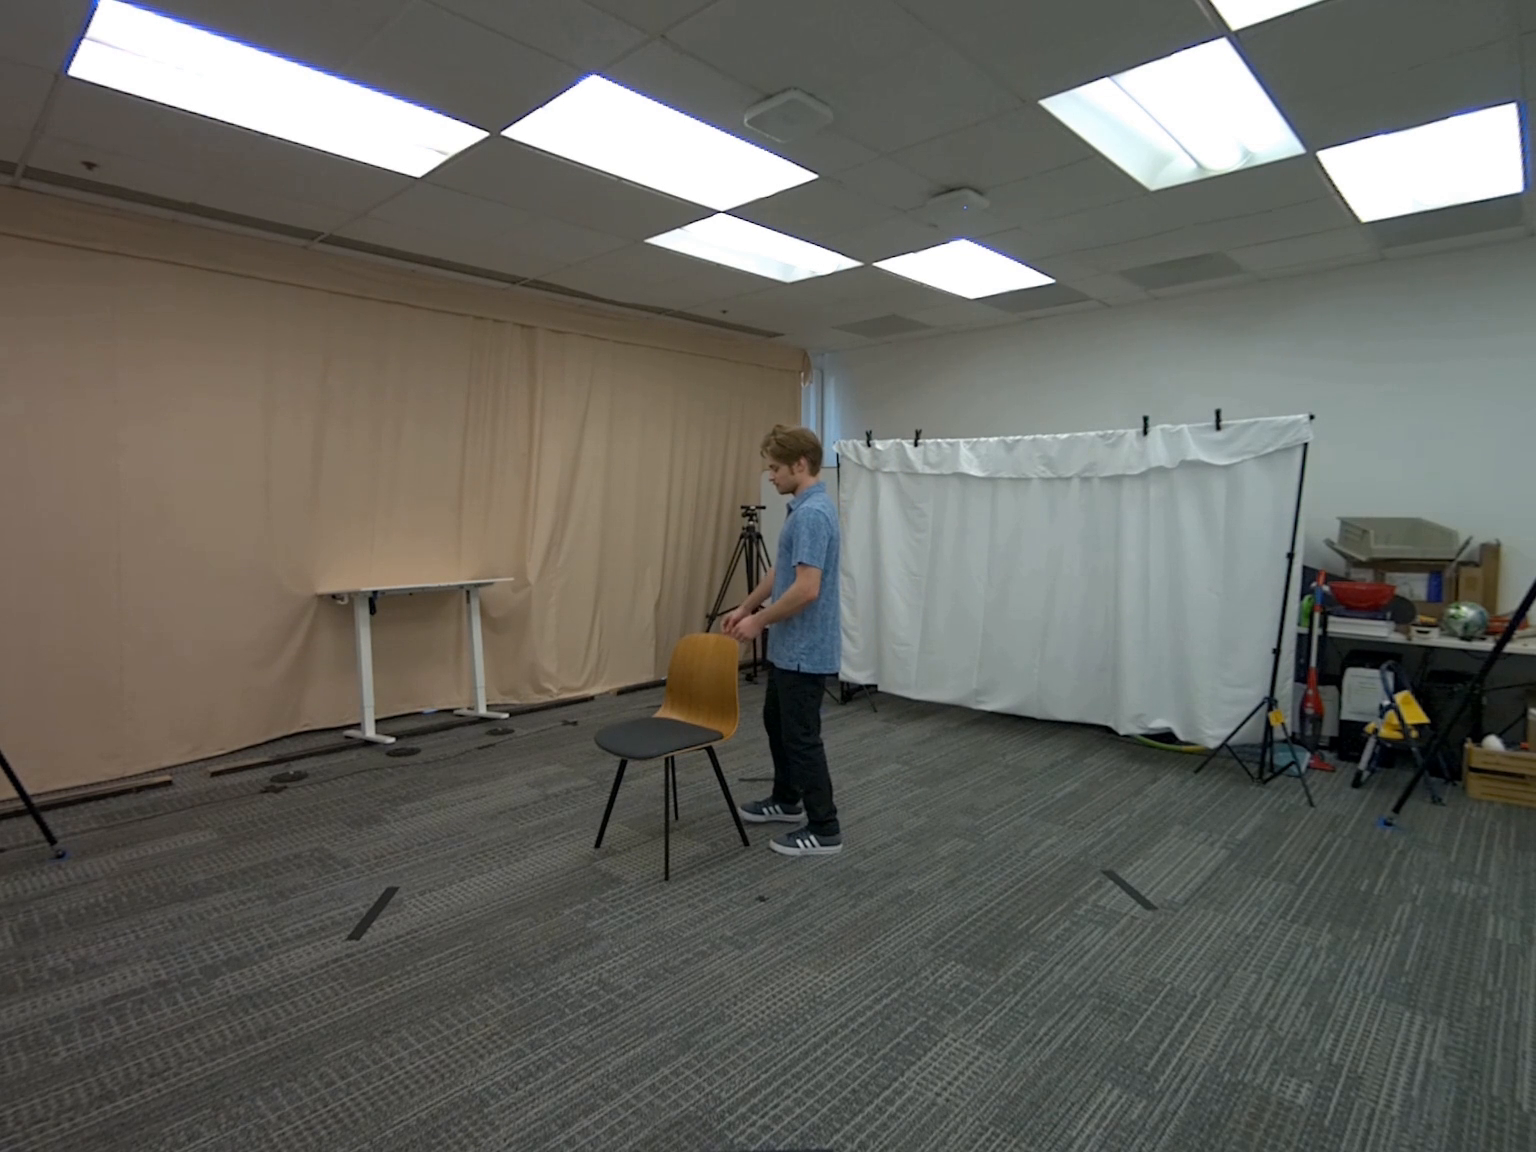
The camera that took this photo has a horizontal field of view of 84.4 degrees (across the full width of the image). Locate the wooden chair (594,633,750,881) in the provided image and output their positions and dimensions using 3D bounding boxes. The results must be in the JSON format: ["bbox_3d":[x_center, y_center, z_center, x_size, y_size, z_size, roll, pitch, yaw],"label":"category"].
[{"bbox_3d":[-0.399,0.686,3.409,0.494,0.877,0.506,2,0,43],"label":"wooden chair"}]
